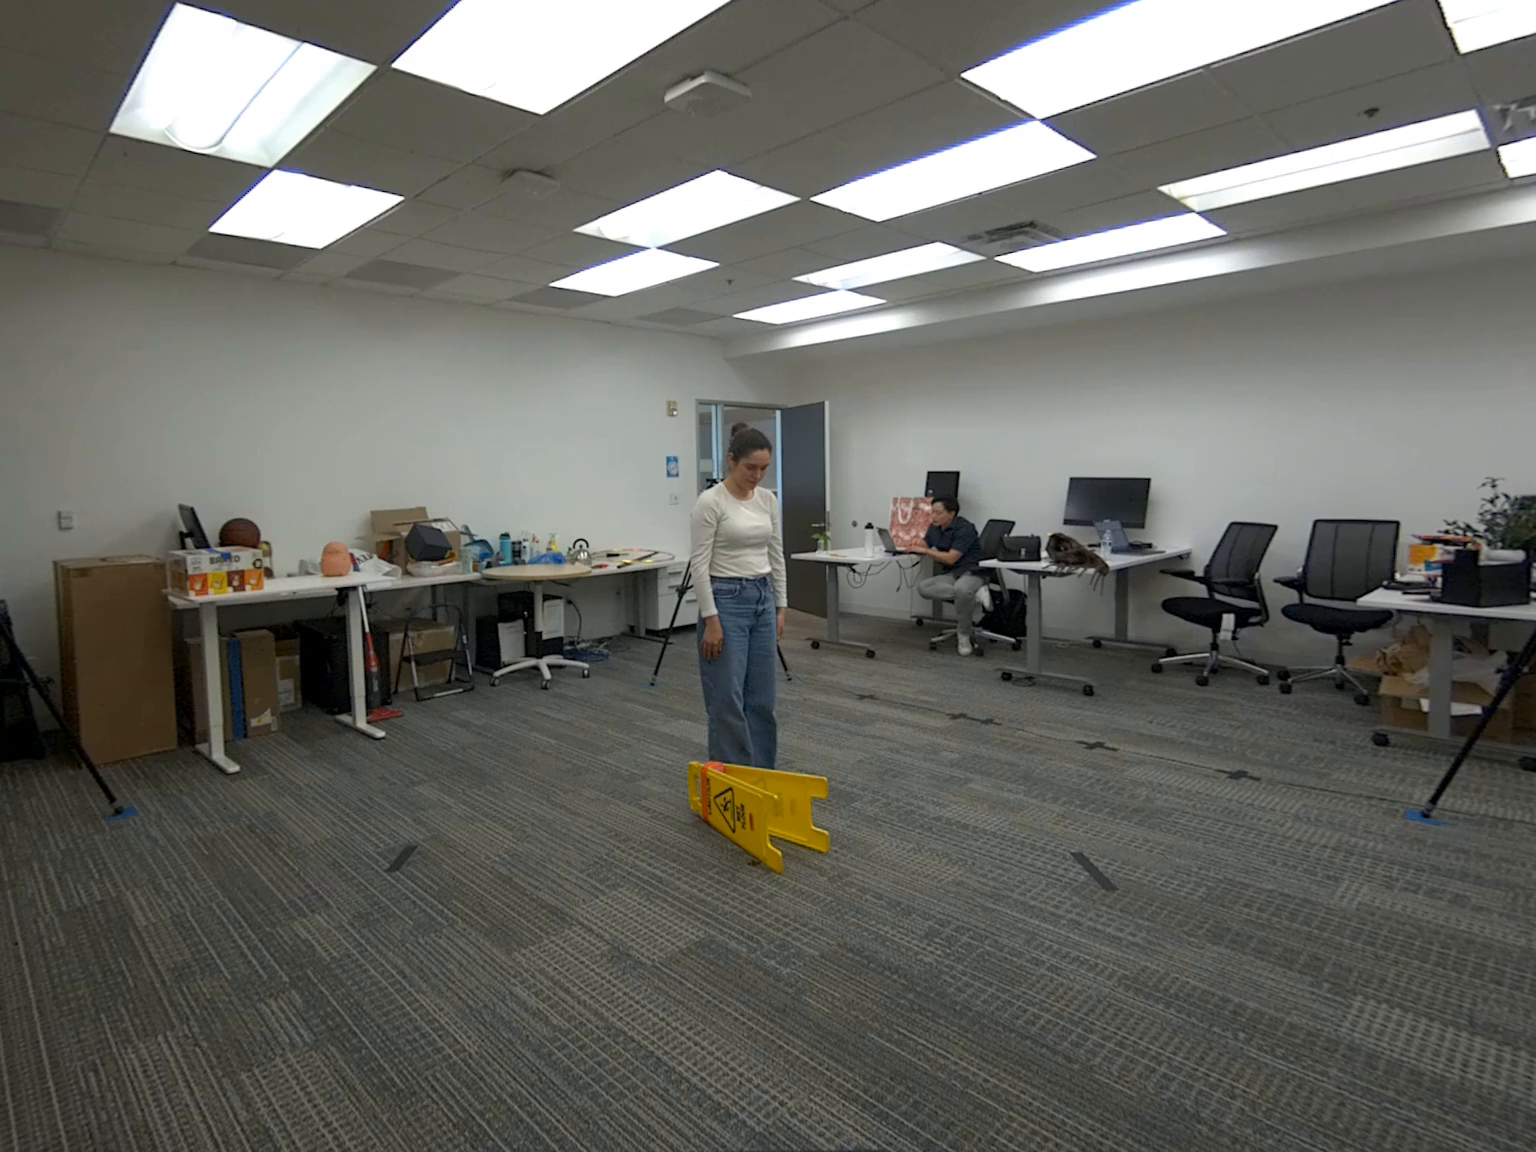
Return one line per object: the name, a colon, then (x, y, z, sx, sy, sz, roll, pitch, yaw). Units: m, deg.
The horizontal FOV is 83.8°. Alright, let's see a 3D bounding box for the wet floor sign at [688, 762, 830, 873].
wet floor sign: (-0.097, 0.892, 3.336, 0.282, 0.281, 0.665, -4, 5, -43)
